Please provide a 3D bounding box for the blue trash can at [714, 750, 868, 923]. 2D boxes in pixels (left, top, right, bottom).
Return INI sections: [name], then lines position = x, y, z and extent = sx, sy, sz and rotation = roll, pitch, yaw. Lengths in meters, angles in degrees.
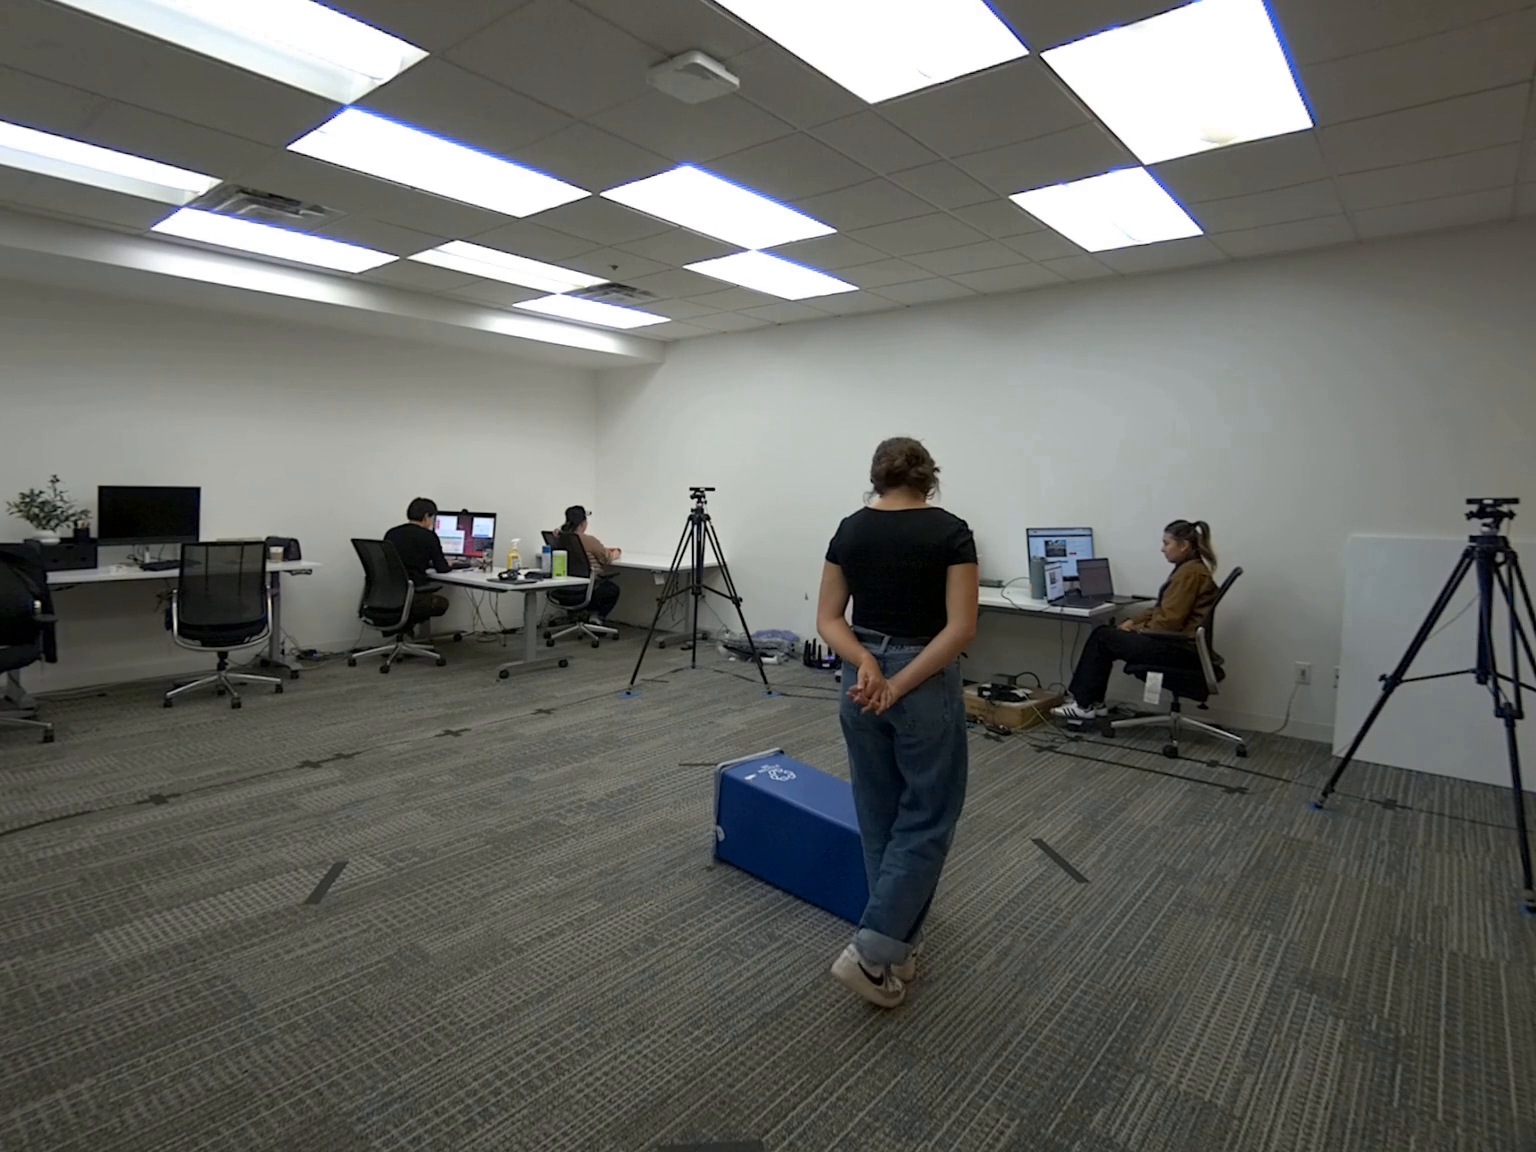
[blue trash can]
position = 0.167, 0.917, 3.020
extent = 0.740, 0.376, 0.363
rotation = 10, 9, 44
